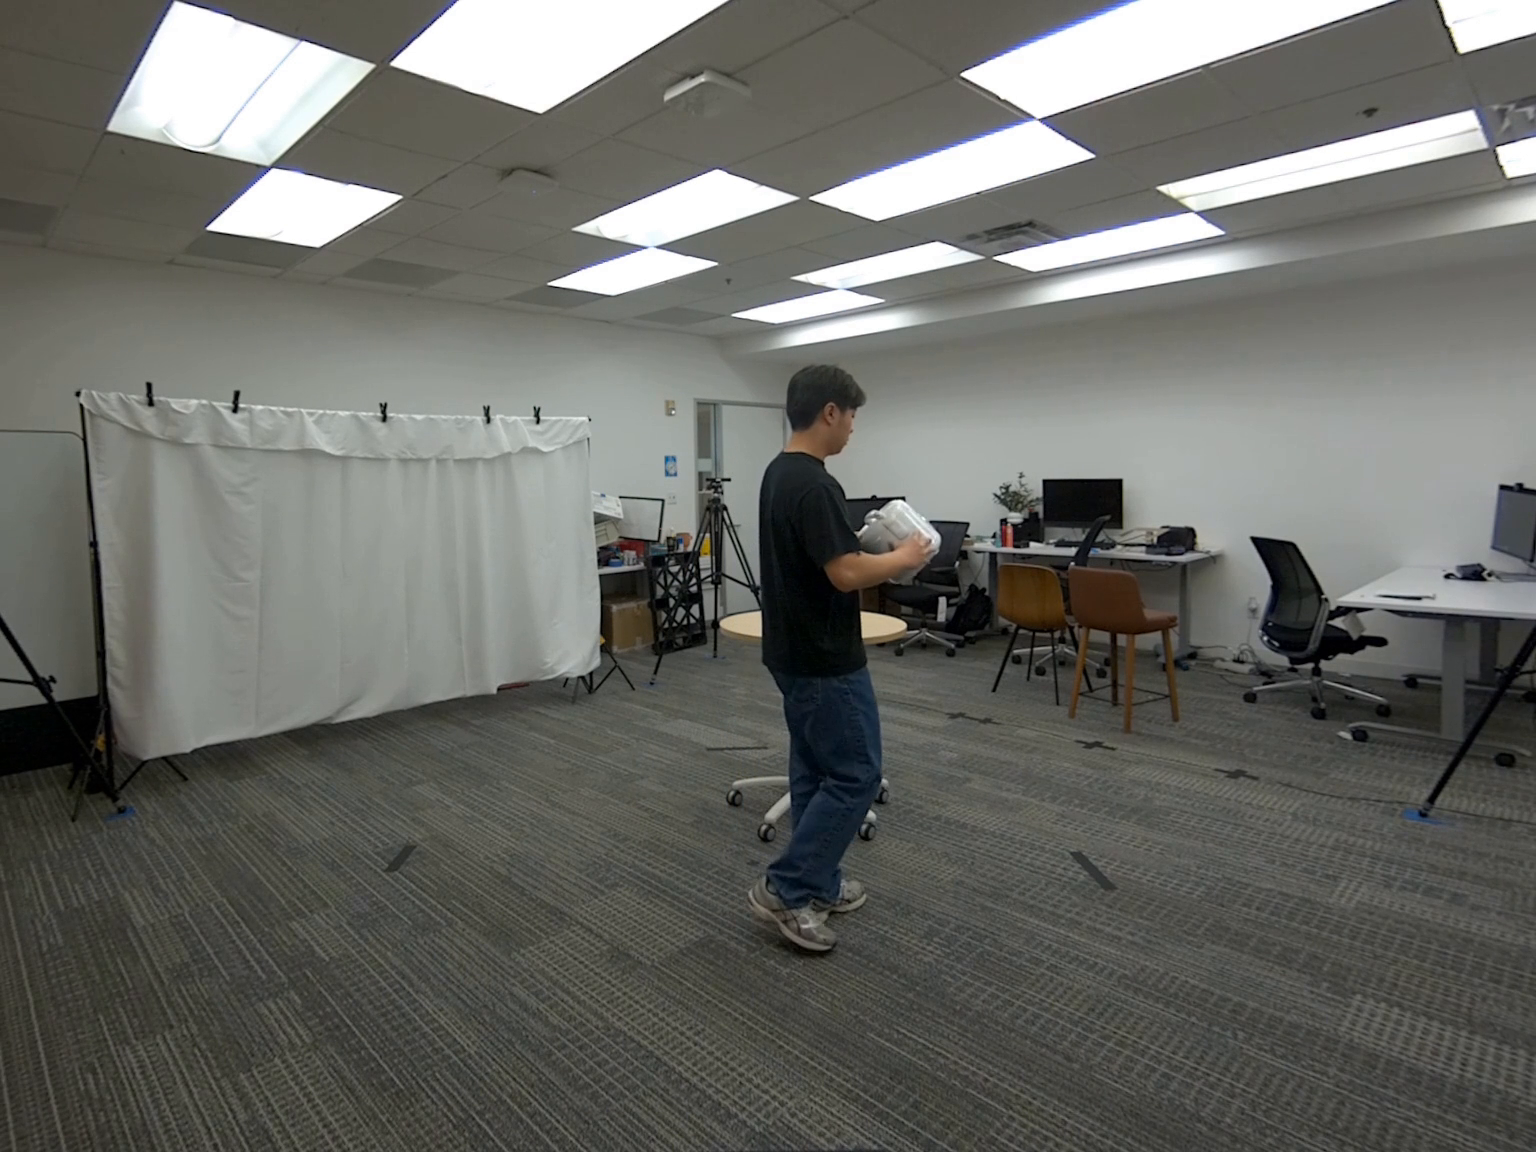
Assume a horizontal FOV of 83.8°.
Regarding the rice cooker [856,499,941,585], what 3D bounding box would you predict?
[{"bbox_3d":[0.406,-0.121,2.719,0.217,0.232,0.221,-46,2,-6],"label":"rice cooker"}]
